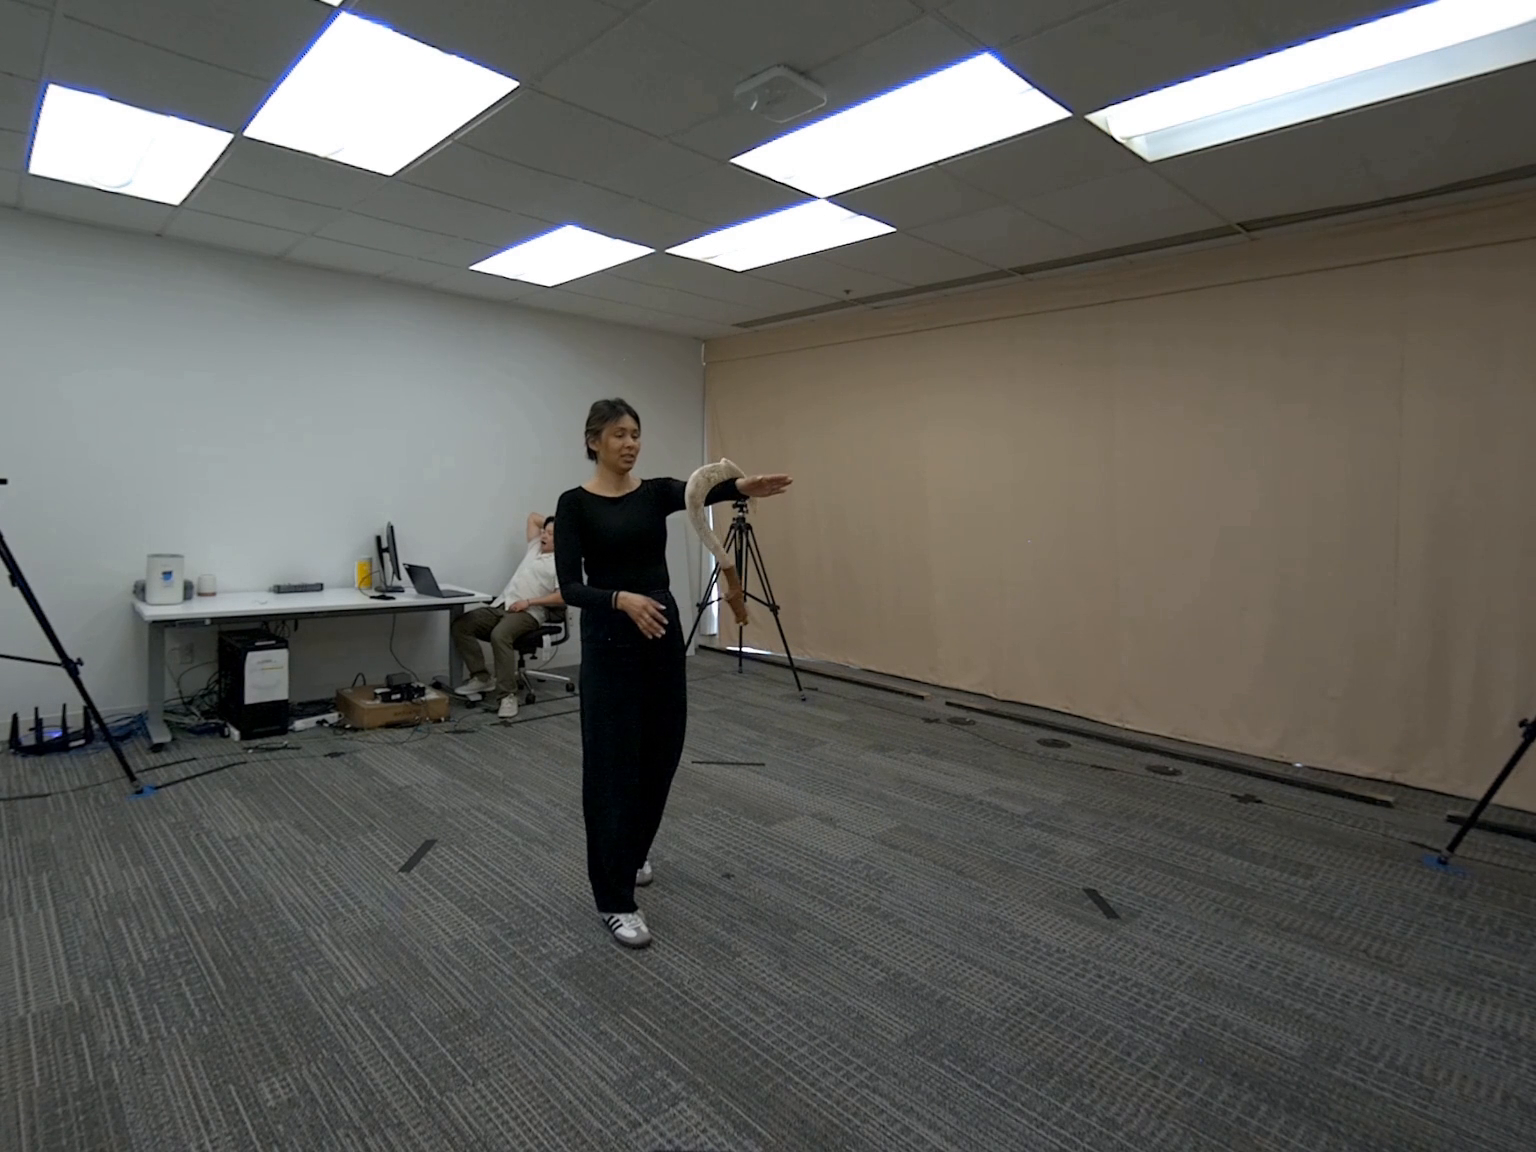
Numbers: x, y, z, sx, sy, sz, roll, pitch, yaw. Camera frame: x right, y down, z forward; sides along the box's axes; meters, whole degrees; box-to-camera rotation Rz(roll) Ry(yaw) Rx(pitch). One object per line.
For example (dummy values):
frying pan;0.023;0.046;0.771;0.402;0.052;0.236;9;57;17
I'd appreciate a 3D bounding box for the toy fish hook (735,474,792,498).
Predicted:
toy fish hook;-0.099;-0.095;2.506;0.223;0.500;0.049;-18;13;-12
